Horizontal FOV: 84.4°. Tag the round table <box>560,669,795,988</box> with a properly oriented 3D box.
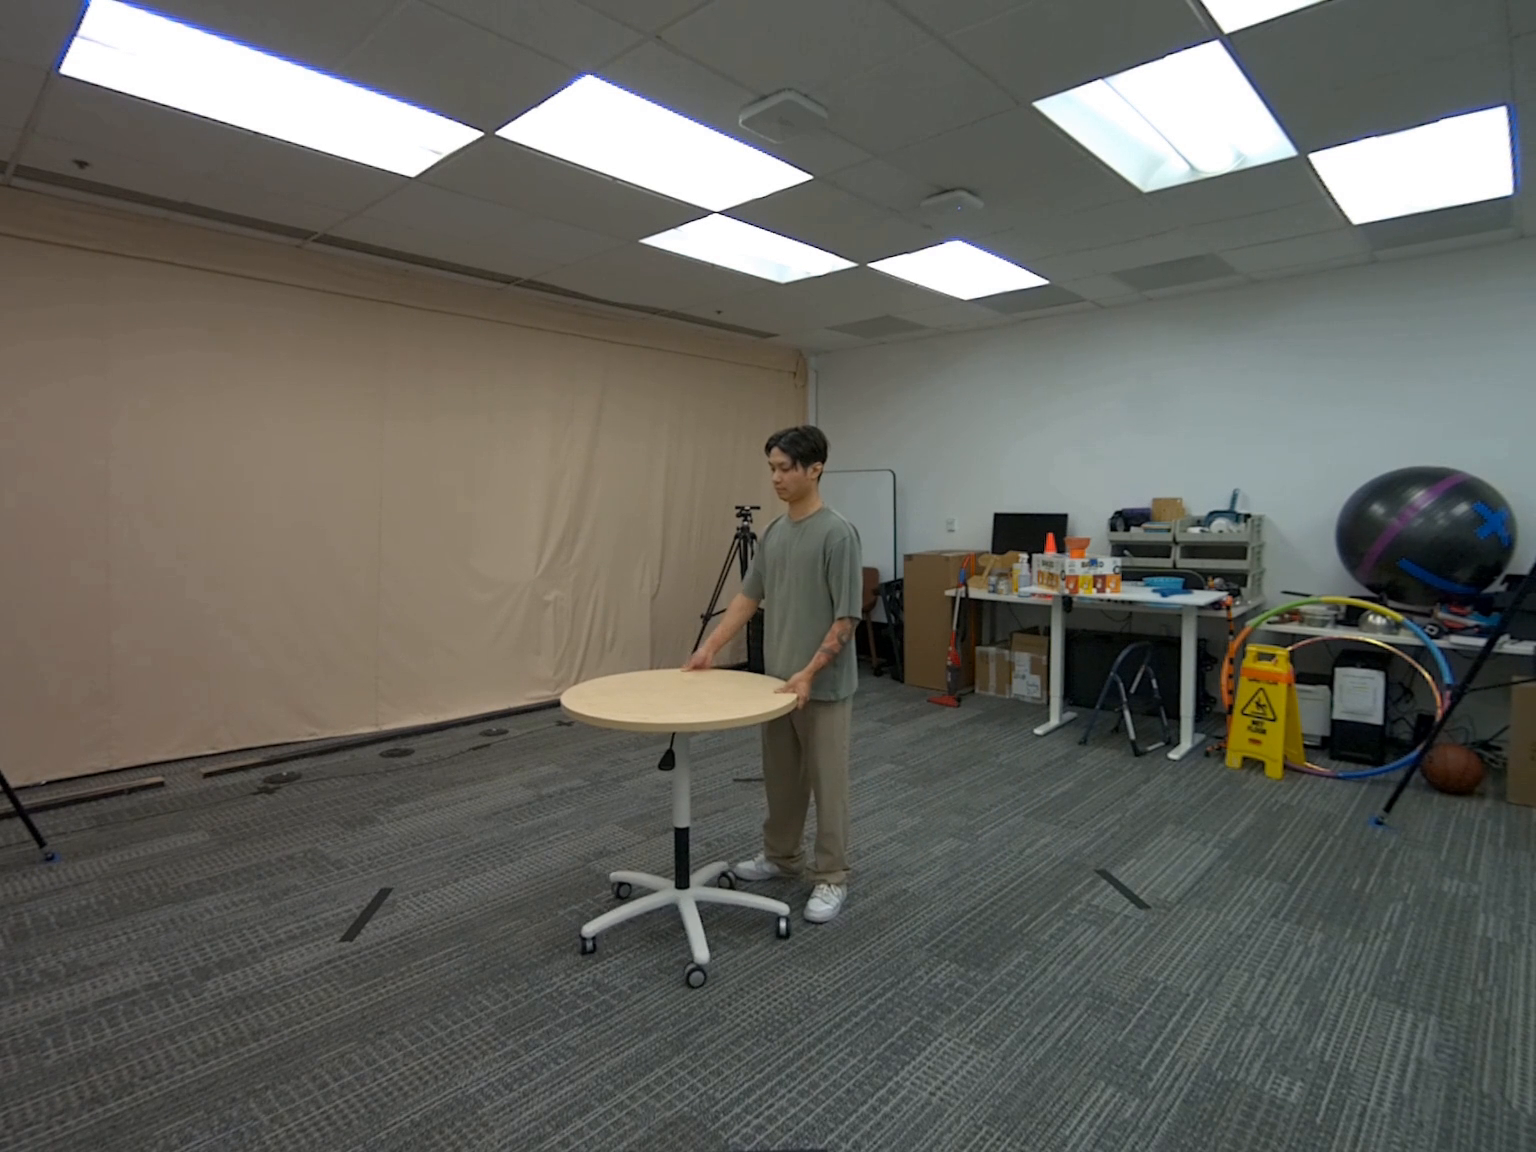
[{"bbox_3d":[-0.271,0.768,2.764,0.784,0.785,0.788,0,4,-2],"label":"round table"}]
